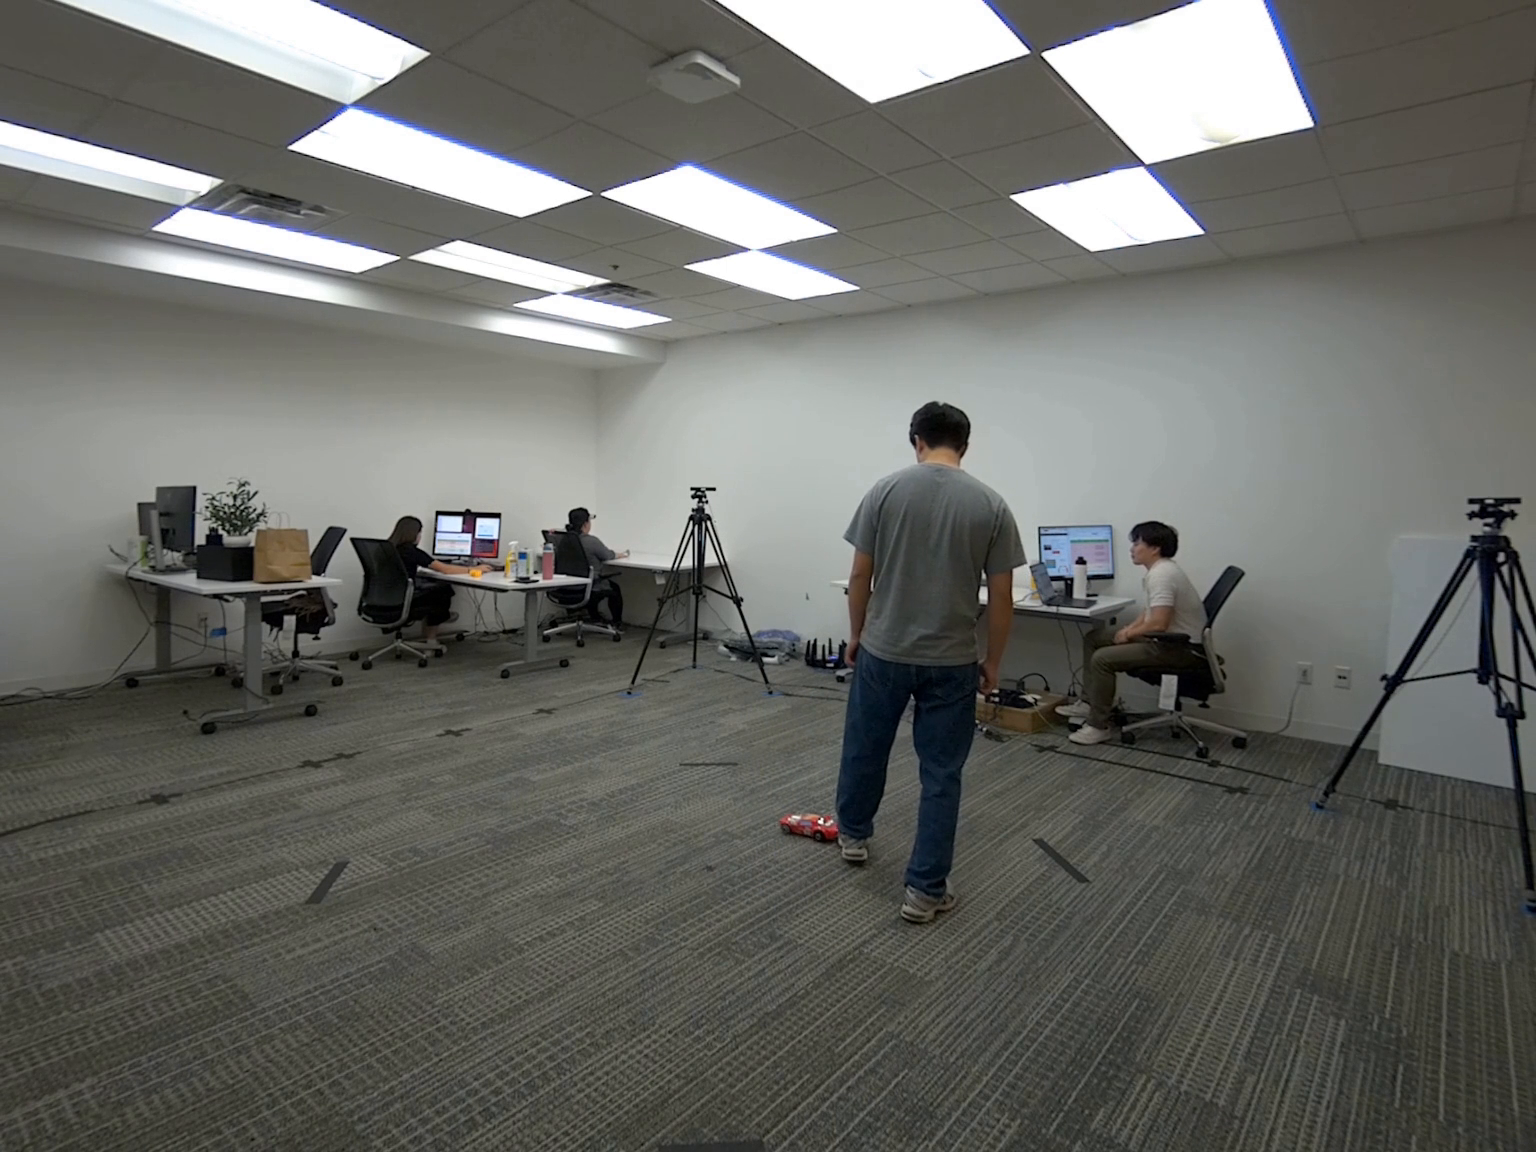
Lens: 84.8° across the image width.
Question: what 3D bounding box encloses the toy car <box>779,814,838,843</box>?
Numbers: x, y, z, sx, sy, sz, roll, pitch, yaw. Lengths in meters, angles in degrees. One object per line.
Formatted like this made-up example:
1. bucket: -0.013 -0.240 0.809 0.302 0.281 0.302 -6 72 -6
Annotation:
1. toy car: 0.179 1.009 3.431 0.260 0.083 0.127 -8 0 28
